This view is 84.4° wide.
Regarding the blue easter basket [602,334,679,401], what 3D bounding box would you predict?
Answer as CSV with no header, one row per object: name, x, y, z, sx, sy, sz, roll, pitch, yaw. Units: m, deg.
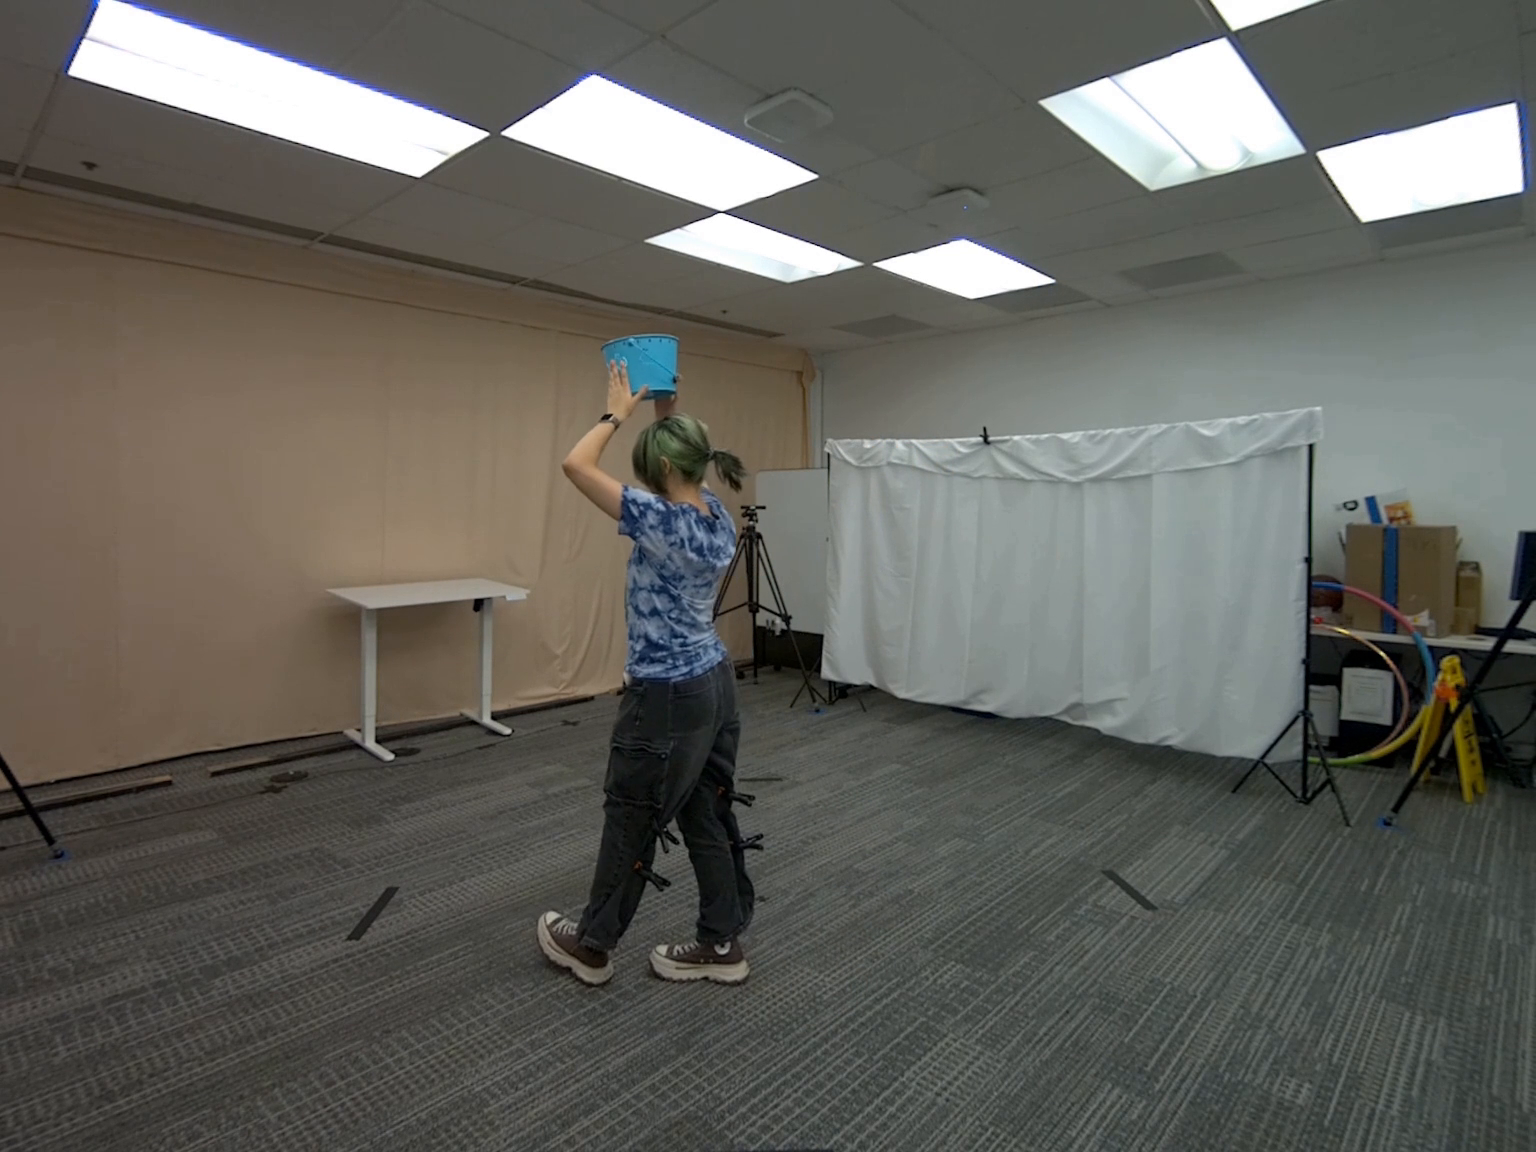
blue easter basket,-0.367,-0.614,2.475,0.243,0.156,0.244,-8,1,-2
